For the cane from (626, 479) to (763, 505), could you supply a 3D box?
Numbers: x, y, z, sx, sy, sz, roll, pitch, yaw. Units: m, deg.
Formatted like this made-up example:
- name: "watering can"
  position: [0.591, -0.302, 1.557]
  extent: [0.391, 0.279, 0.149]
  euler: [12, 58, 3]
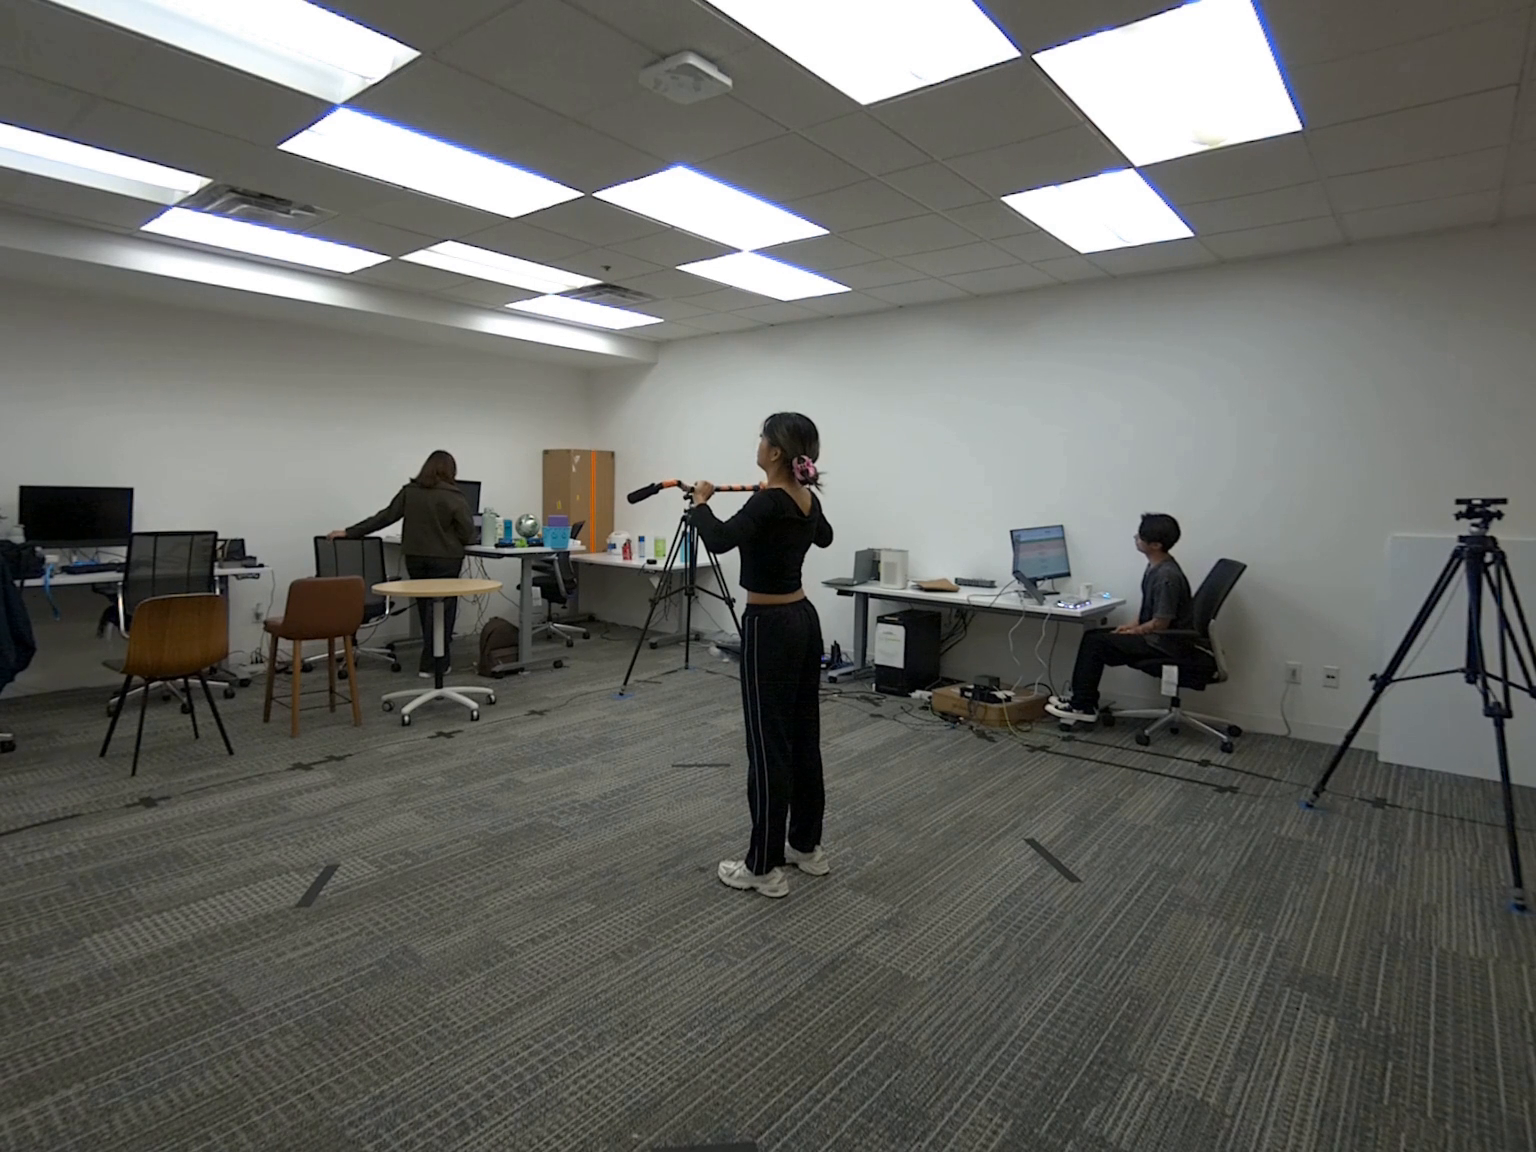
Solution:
- name: "cane"
  position: [-0.150, -0.298, 3.024]
  extent: [0.210, 0.153, 0.884]
  euler: [-20, -6, 32]
